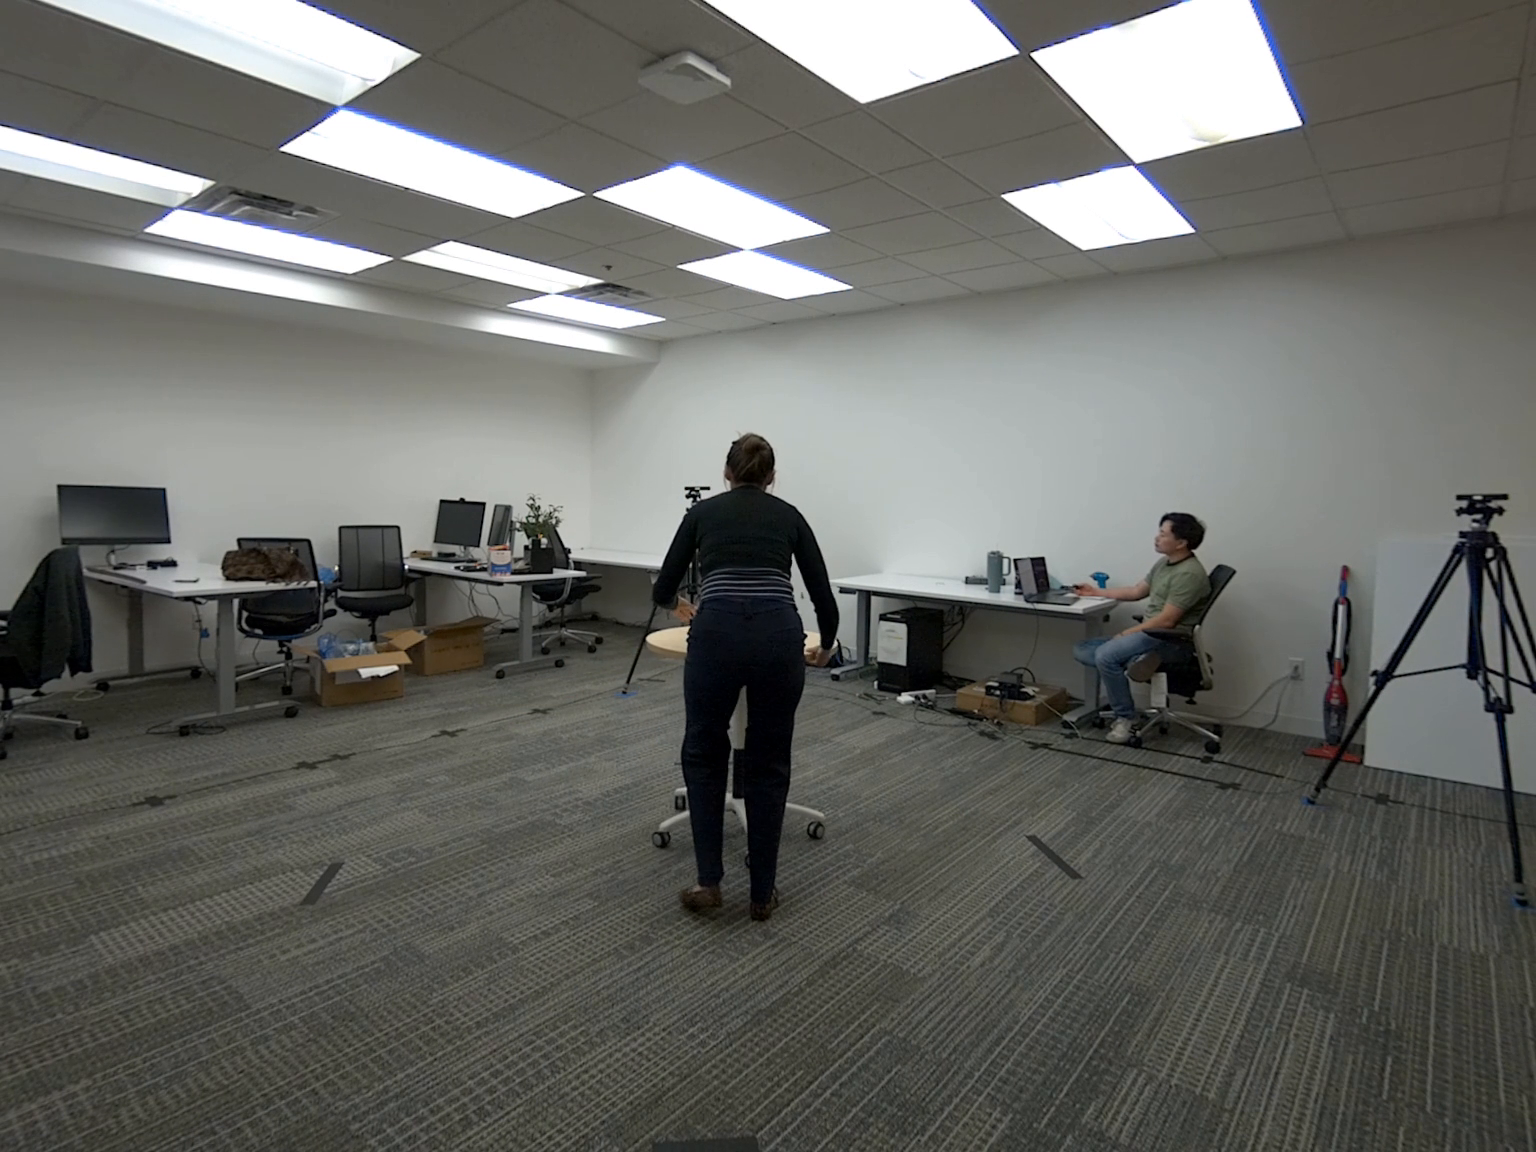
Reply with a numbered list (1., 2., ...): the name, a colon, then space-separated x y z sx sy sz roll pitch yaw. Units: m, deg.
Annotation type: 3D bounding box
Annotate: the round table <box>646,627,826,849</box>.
1. round table: -0.127 0.642 3.438 0.763 0.792 0.767 1 4 -2
